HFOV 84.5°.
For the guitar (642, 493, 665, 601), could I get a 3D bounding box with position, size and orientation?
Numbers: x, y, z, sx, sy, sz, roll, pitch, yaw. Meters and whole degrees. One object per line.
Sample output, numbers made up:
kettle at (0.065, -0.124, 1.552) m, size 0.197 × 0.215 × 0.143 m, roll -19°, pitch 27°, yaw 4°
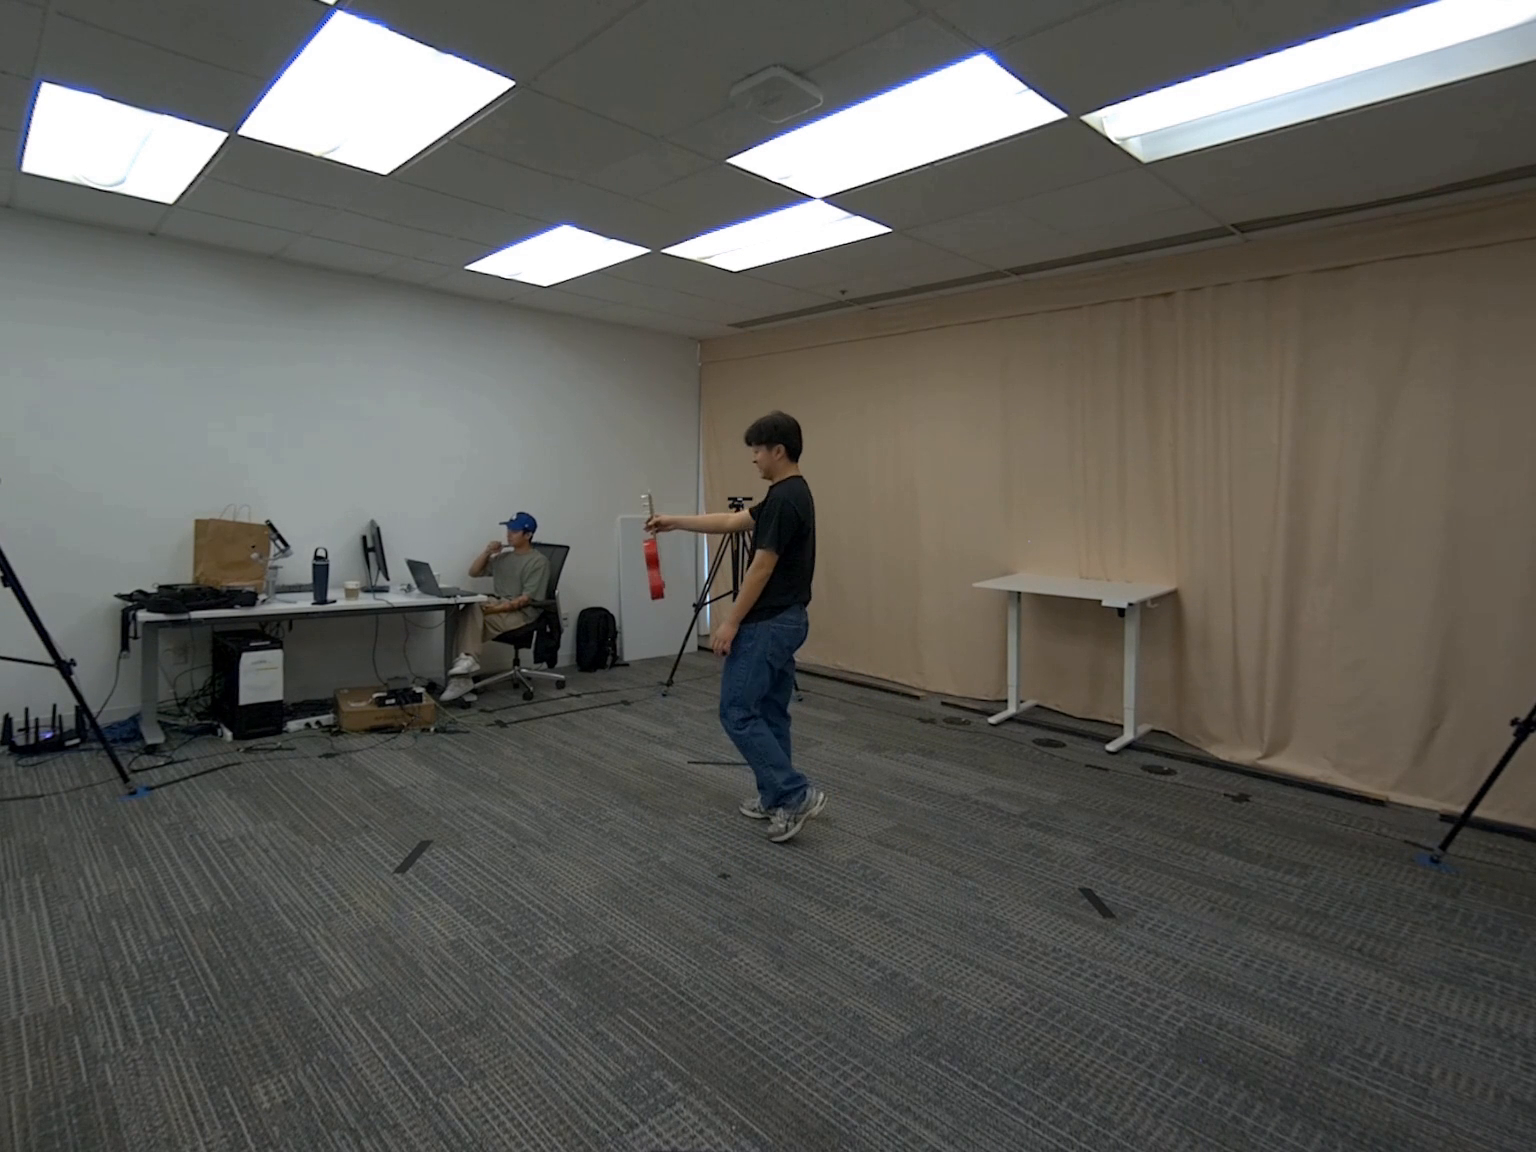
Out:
guitar at (-0.533, -0.138, 3.840) m, size 0.070 × 0.496 × 0.194 m, roll -7°, pitch 3°, yaw -5°
